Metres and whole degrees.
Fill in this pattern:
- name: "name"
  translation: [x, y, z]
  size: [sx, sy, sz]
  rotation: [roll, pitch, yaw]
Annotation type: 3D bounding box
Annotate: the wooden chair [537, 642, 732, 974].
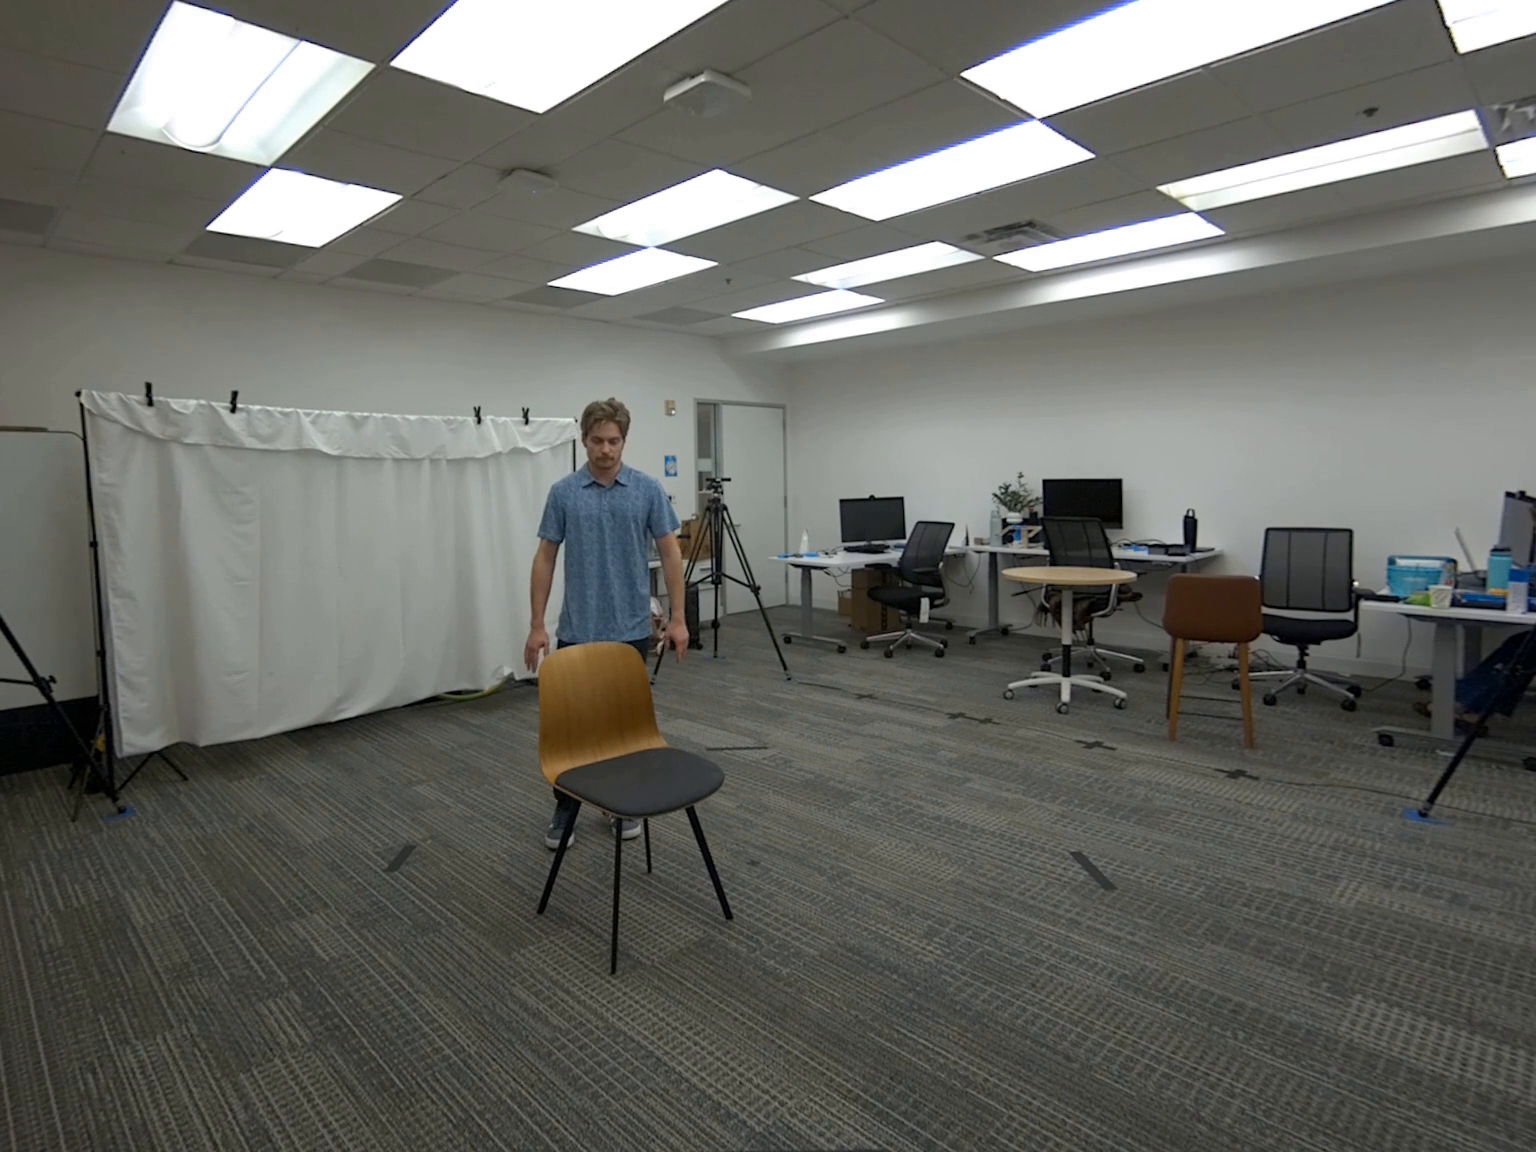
- name: "wooden chair"
  translation: [-0.426, 0.669, 2.698]
  size: [0.465, 0.877, 0.537]
  rotation: [-5, 2, -42]
